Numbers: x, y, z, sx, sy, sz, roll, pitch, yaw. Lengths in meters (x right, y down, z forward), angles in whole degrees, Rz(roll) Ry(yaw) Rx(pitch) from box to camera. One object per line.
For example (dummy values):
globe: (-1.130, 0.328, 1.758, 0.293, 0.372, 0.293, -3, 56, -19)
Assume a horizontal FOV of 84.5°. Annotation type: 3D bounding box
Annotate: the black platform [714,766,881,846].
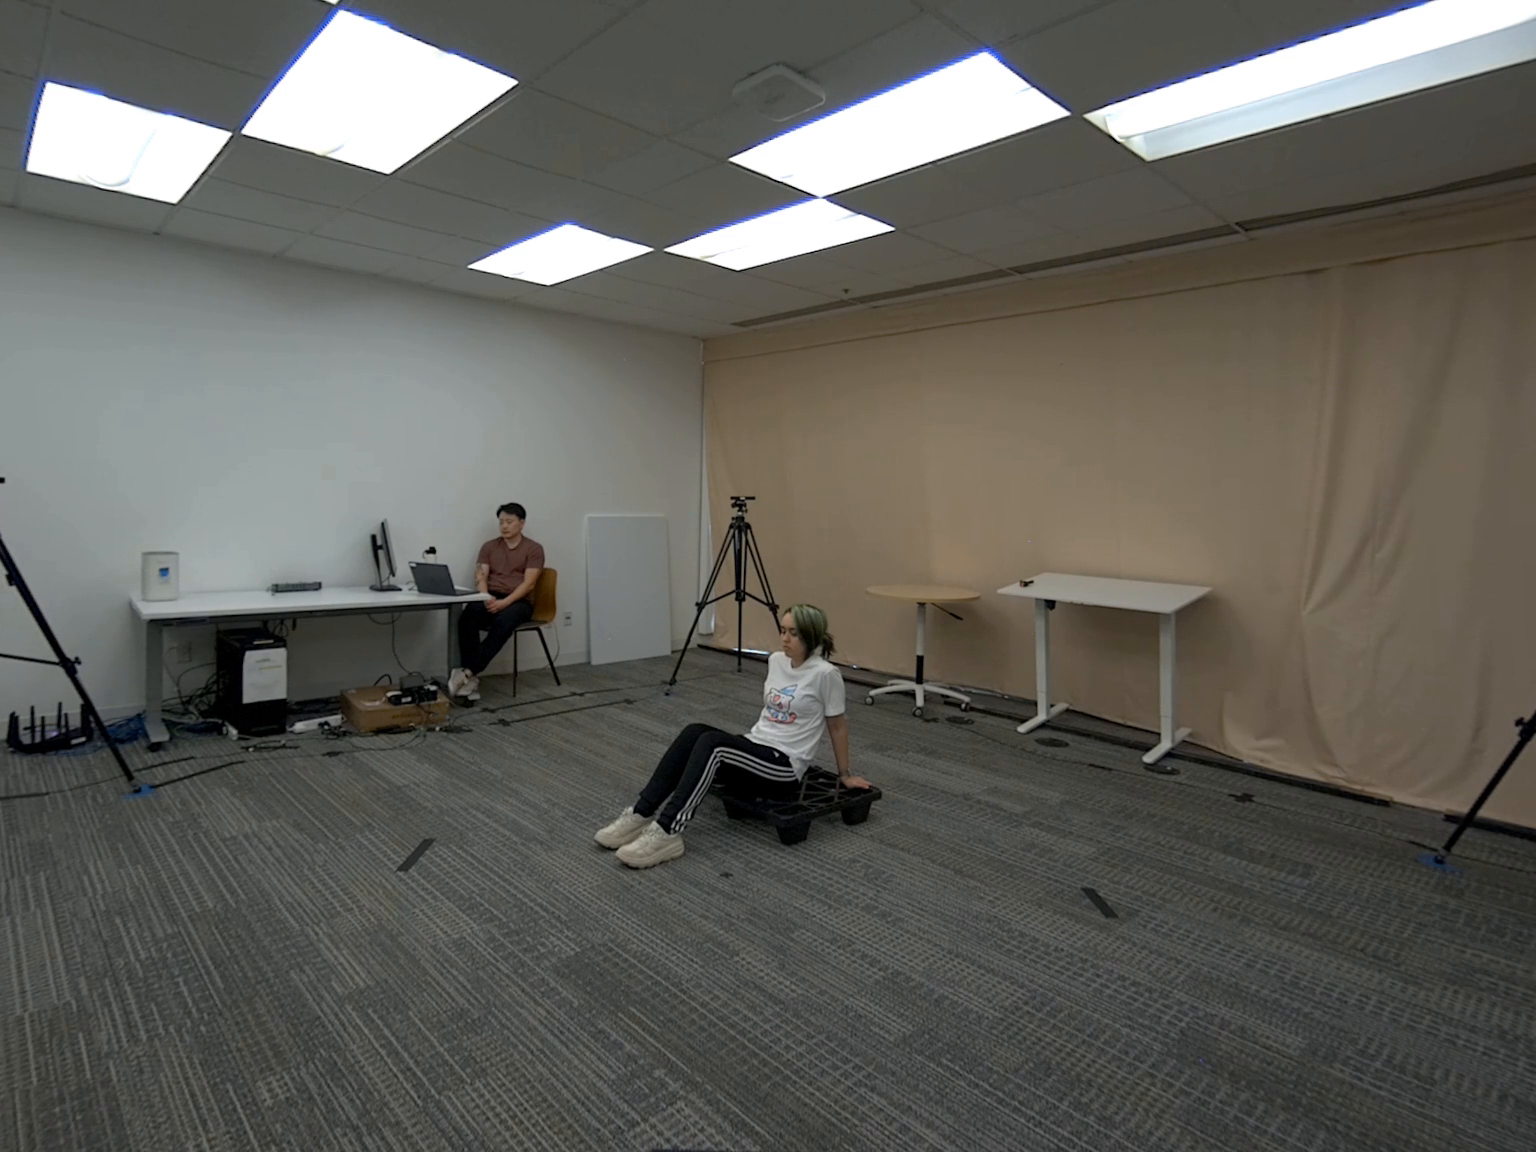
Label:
black platform: (0.011, 0.980, 3.803, 0.591, 0.143, 0.826, -3, 6, -40)
